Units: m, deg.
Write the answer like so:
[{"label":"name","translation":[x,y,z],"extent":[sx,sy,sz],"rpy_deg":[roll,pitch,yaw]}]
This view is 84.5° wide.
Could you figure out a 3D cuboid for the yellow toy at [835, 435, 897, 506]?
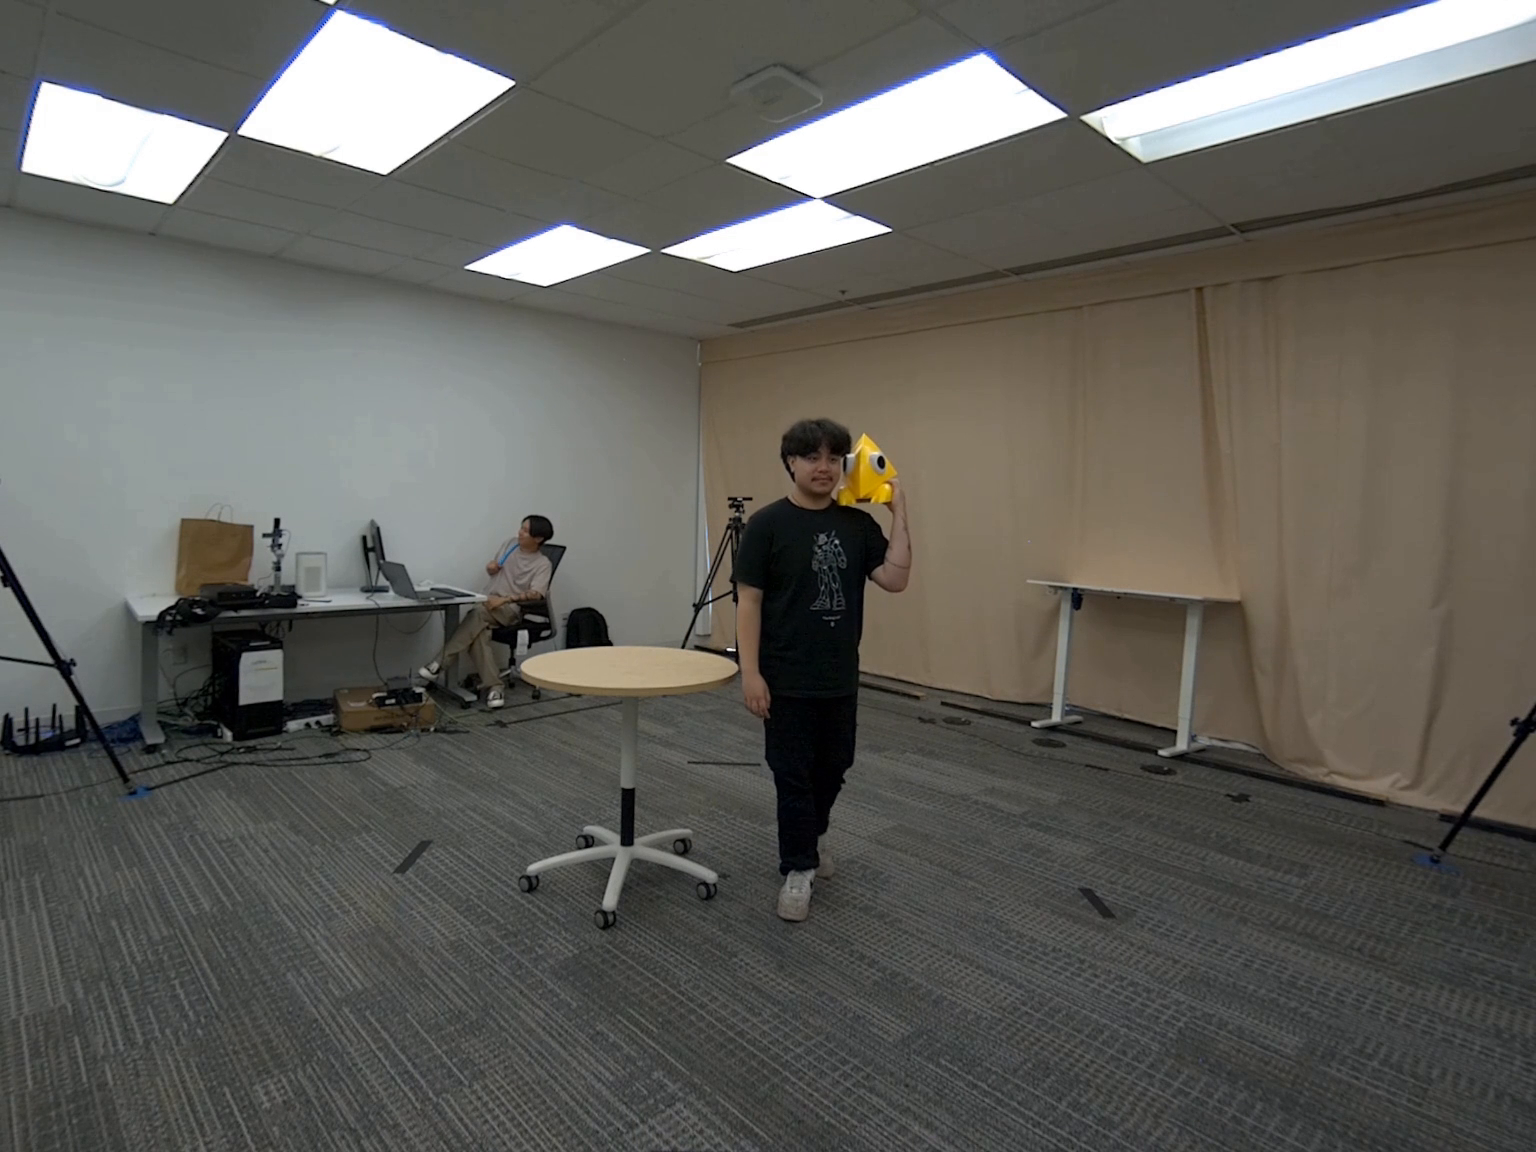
[{"label":"yellow toy","translation":[0.323,-0.377,2.927],"extent":[0.207,0.229,0.192],"rpy_deg":[-2,10,18]}]
